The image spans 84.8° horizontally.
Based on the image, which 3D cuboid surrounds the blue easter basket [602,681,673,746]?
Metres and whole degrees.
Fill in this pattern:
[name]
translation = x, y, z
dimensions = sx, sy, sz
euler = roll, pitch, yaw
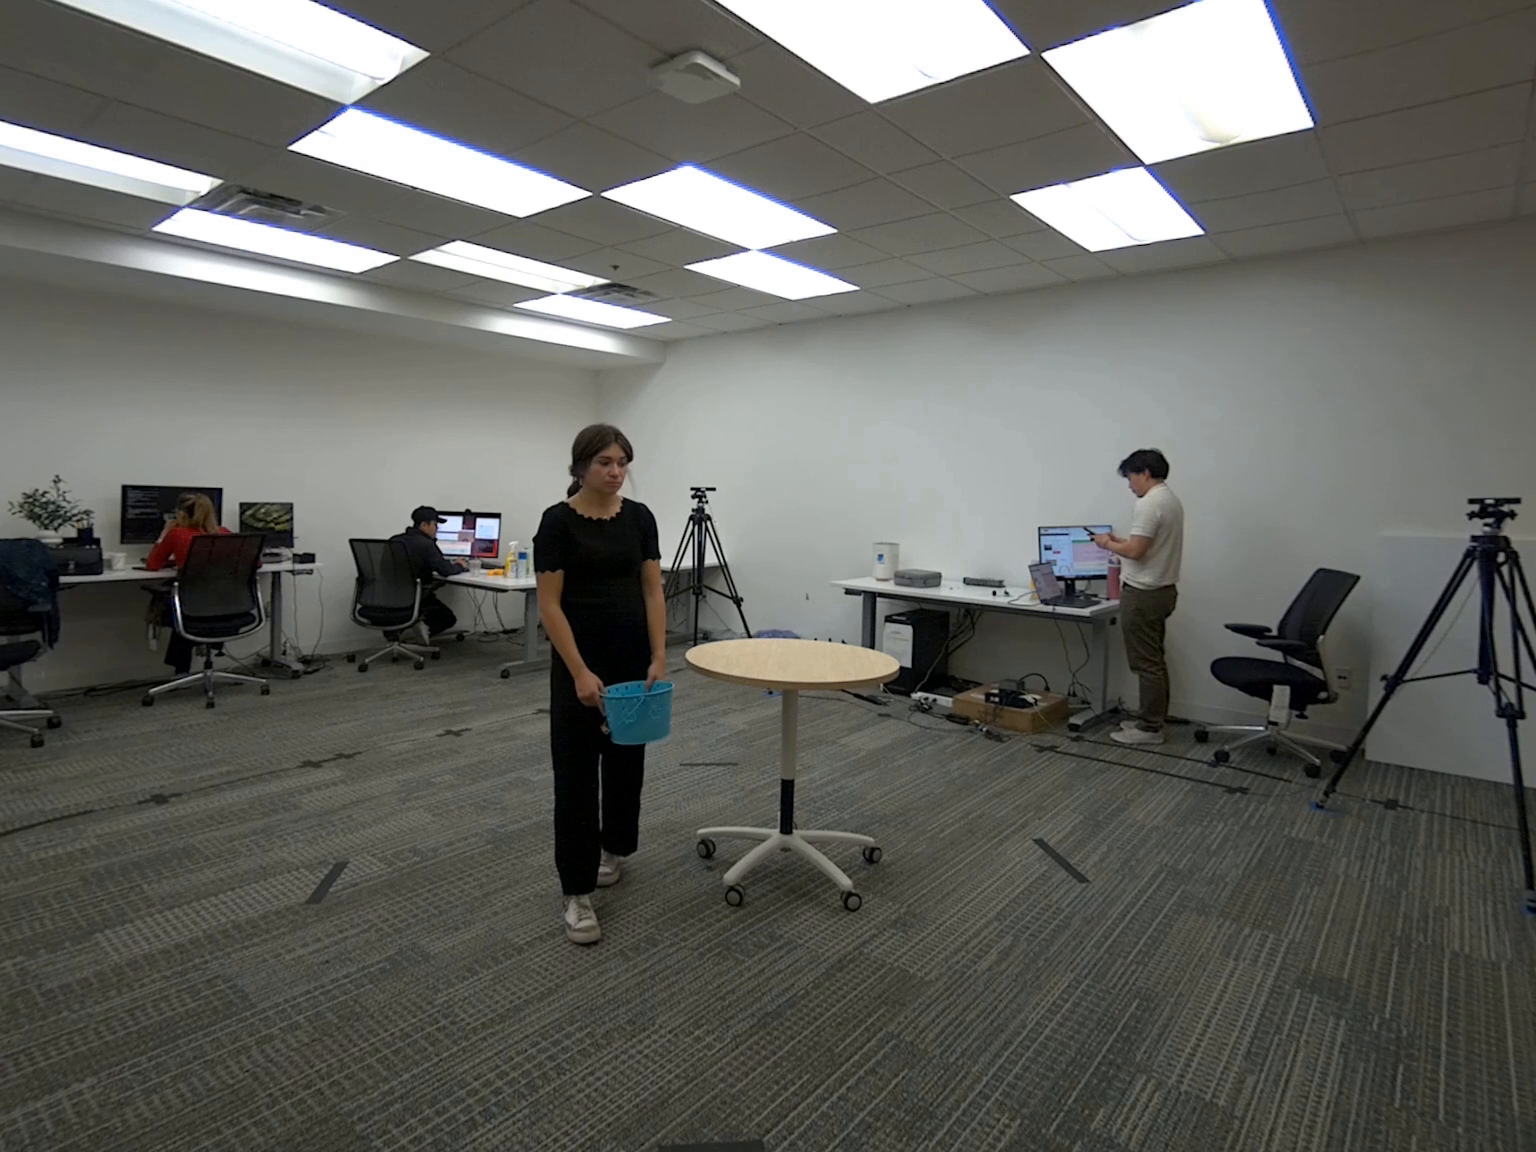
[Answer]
[blue easter basket]
translation = -0.429, 0.419, 2.656
dimensions = 0.243, 0.155, 0.244
euler = -3, 4, -2
